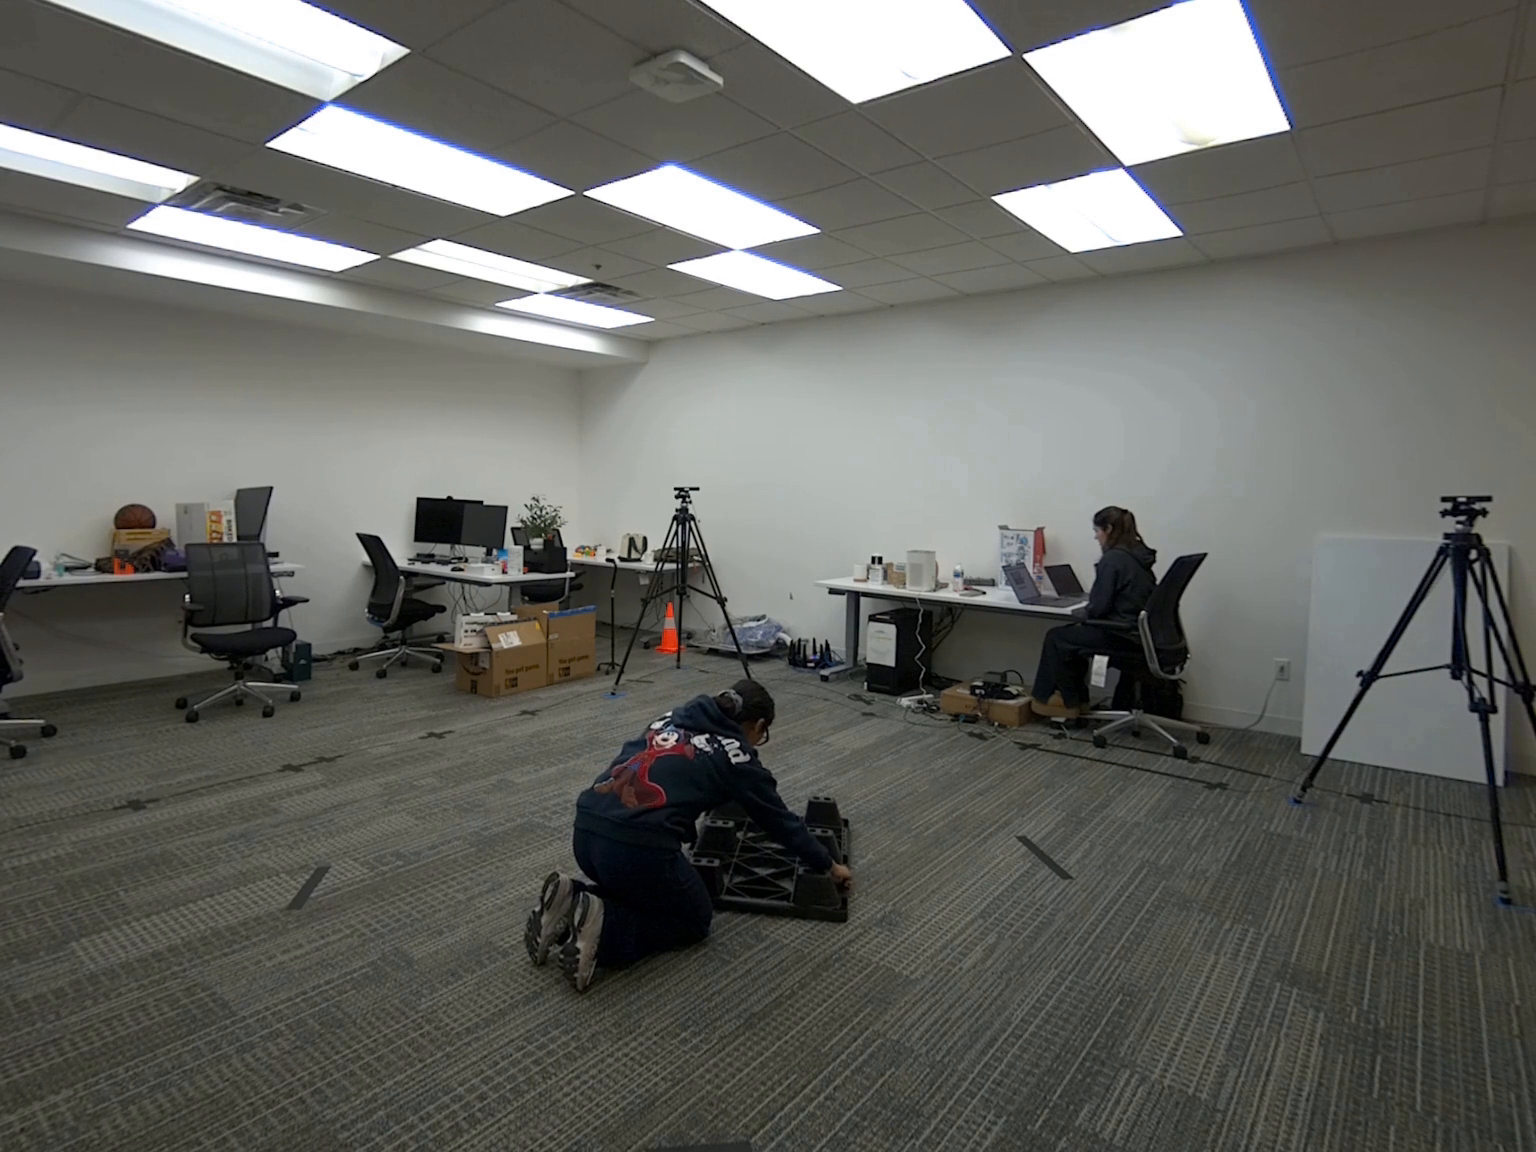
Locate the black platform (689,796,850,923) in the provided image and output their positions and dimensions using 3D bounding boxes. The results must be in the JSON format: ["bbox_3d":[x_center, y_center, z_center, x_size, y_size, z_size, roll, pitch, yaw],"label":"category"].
[{"bbox_3d":[-0.002,0.998,3.161,0.611,0.143,0.801,1,6,7],"label":"black platform"}]
